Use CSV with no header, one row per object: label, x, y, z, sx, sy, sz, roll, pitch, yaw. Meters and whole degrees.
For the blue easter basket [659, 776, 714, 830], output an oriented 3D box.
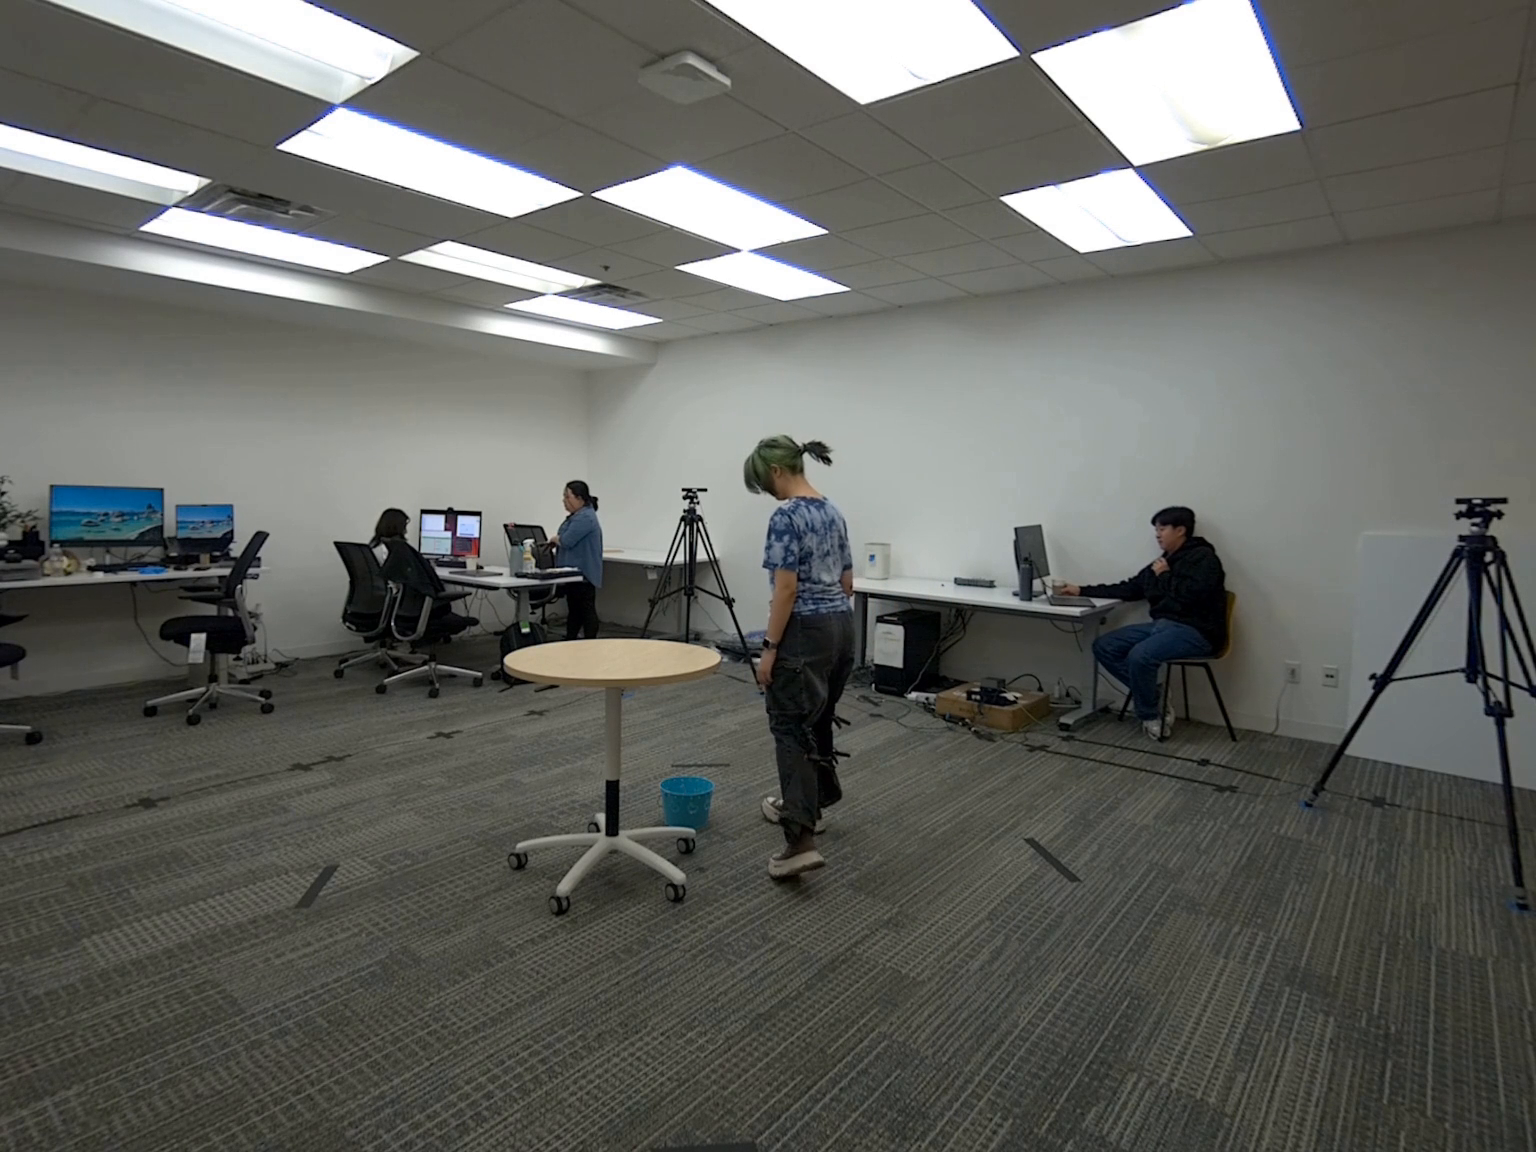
blue easter basket,-0.352,0.946,3.572,0.243,0.155,0.245,1,6,-2
